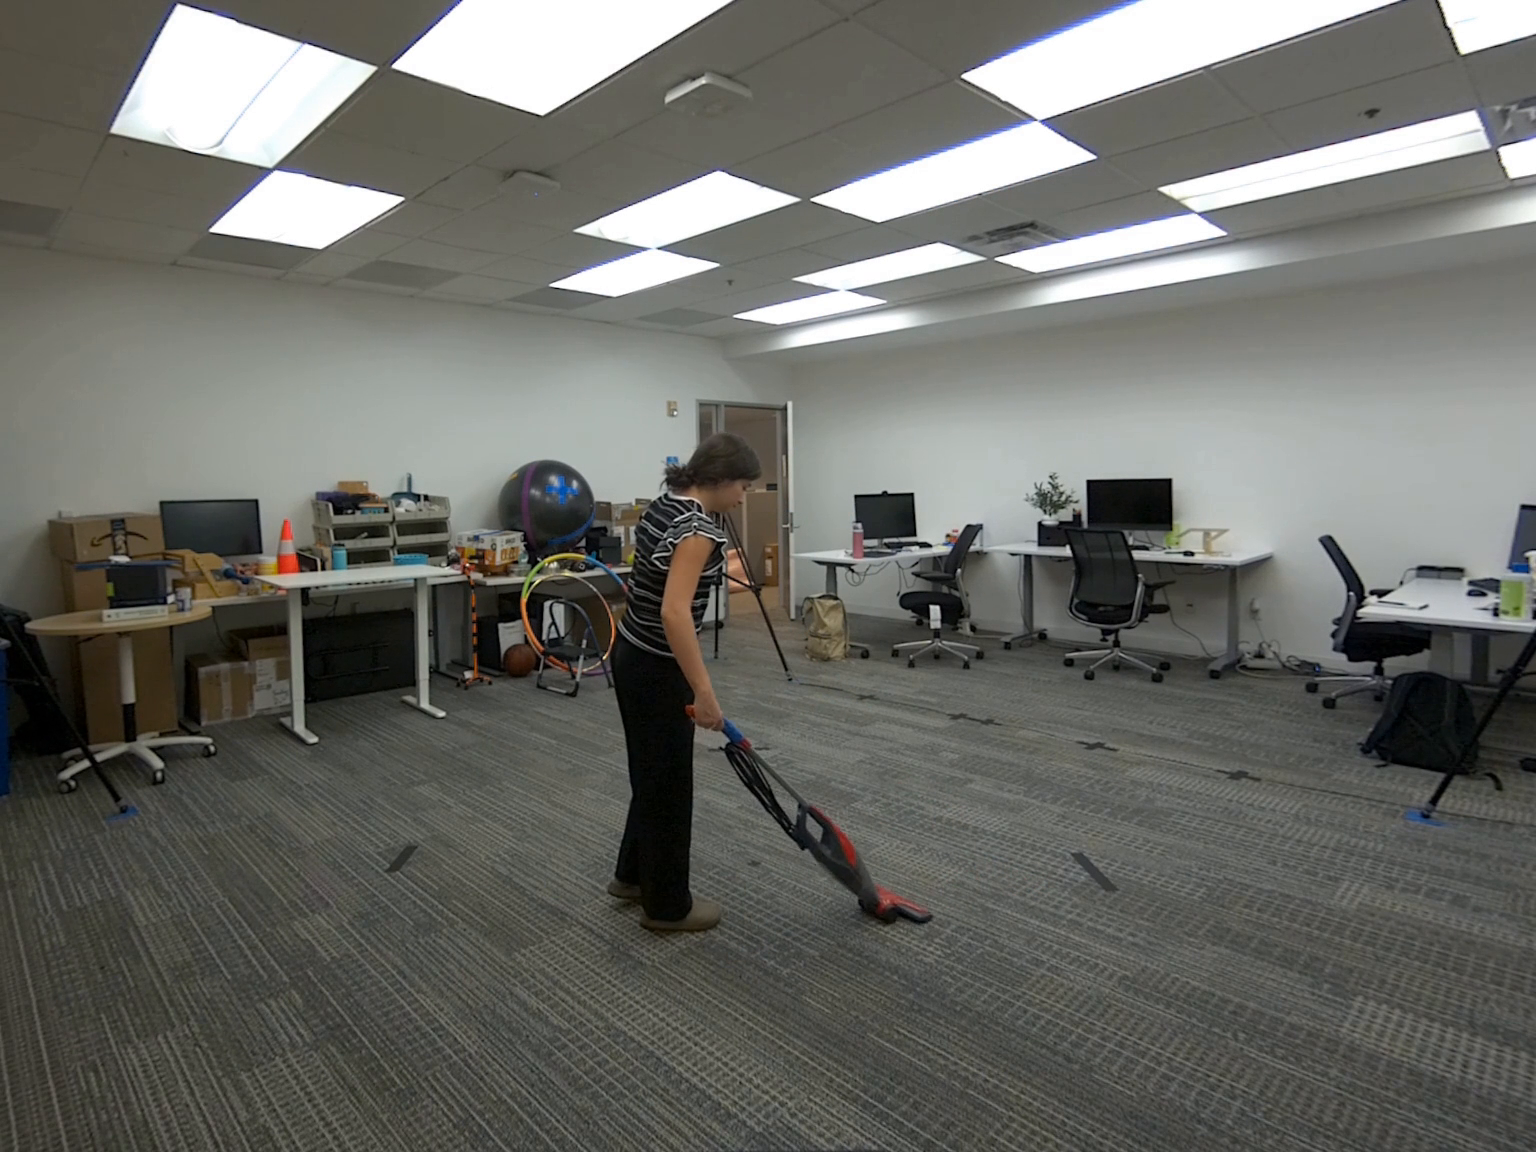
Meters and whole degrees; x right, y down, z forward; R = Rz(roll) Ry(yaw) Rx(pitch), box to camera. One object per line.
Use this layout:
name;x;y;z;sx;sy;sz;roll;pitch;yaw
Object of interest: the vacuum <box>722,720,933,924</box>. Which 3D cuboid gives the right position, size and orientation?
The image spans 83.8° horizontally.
vacuum;0.102;0.716;2.556;0.144;1.018;0.260;-50;26;-18
